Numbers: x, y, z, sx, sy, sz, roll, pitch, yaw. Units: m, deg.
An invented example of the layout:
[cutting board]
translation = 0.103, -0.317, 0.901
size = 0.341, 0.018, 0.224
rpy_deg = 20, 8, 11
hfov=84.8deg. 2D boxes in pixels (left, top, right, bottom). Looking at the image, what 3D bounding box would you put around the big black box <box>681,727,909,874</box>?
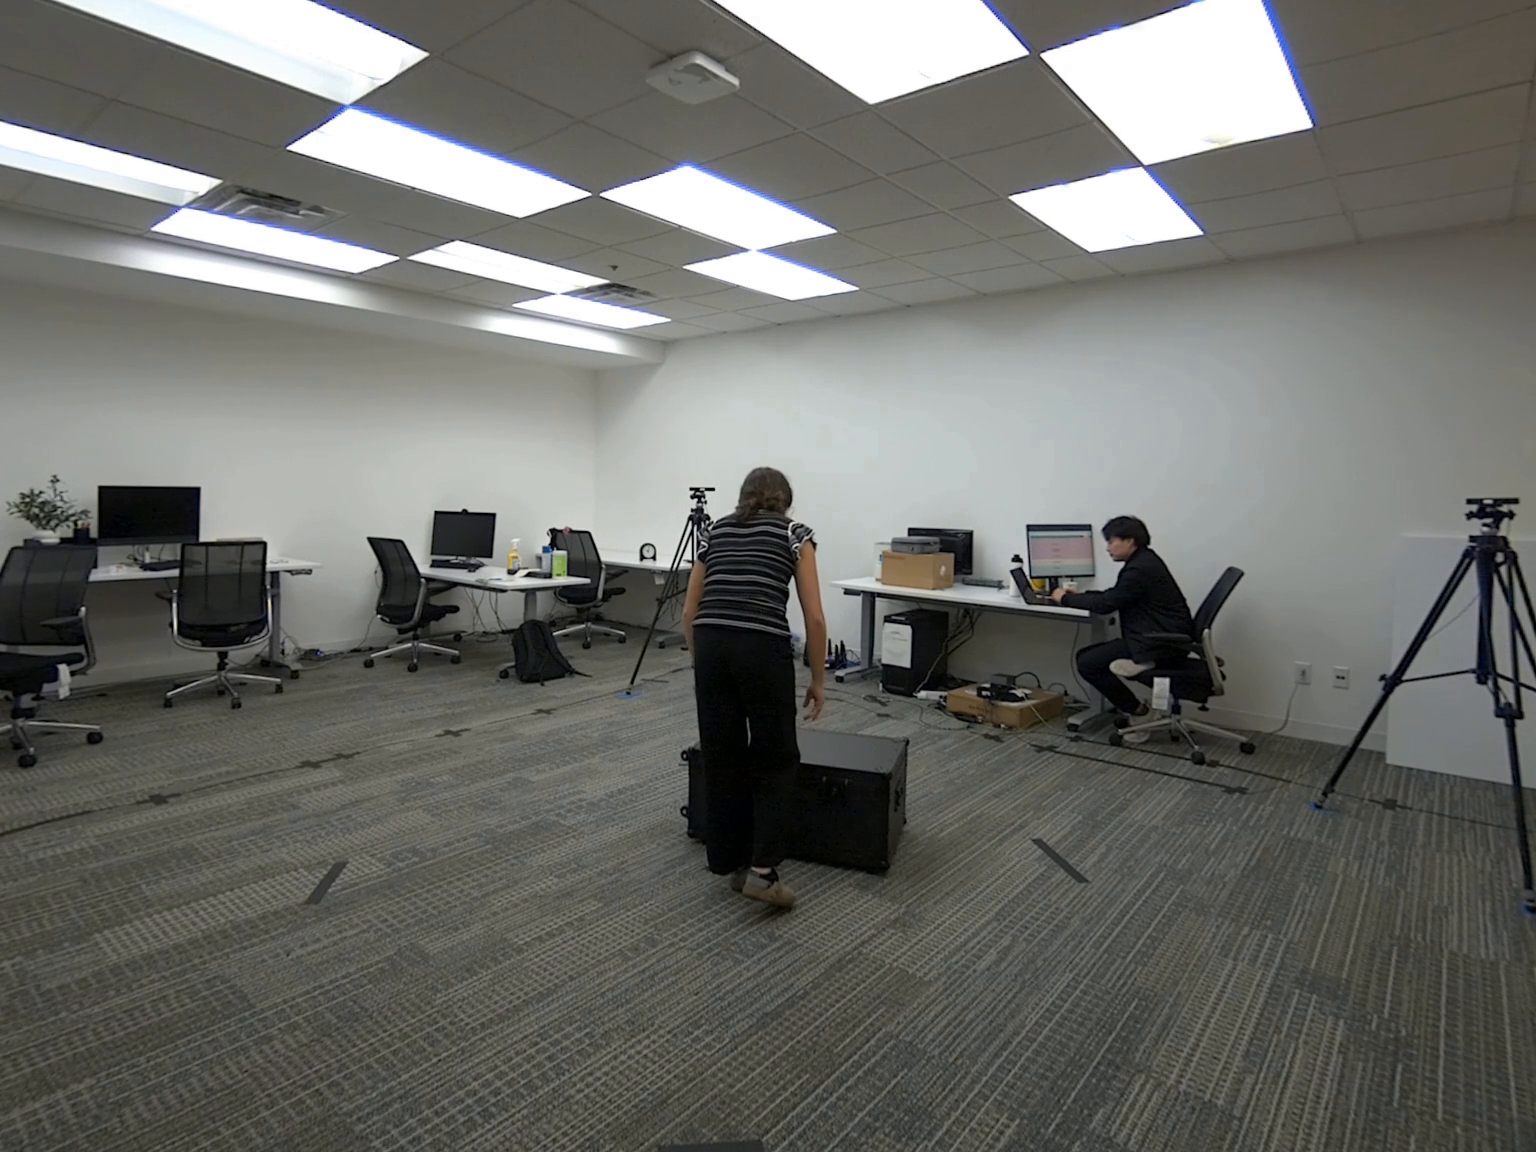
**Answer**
[big black box]
translation = 0.088, 0.849, 3.423
size = 0.879, 0.394, 0.513
rpy_deg = 4, 6, 19
